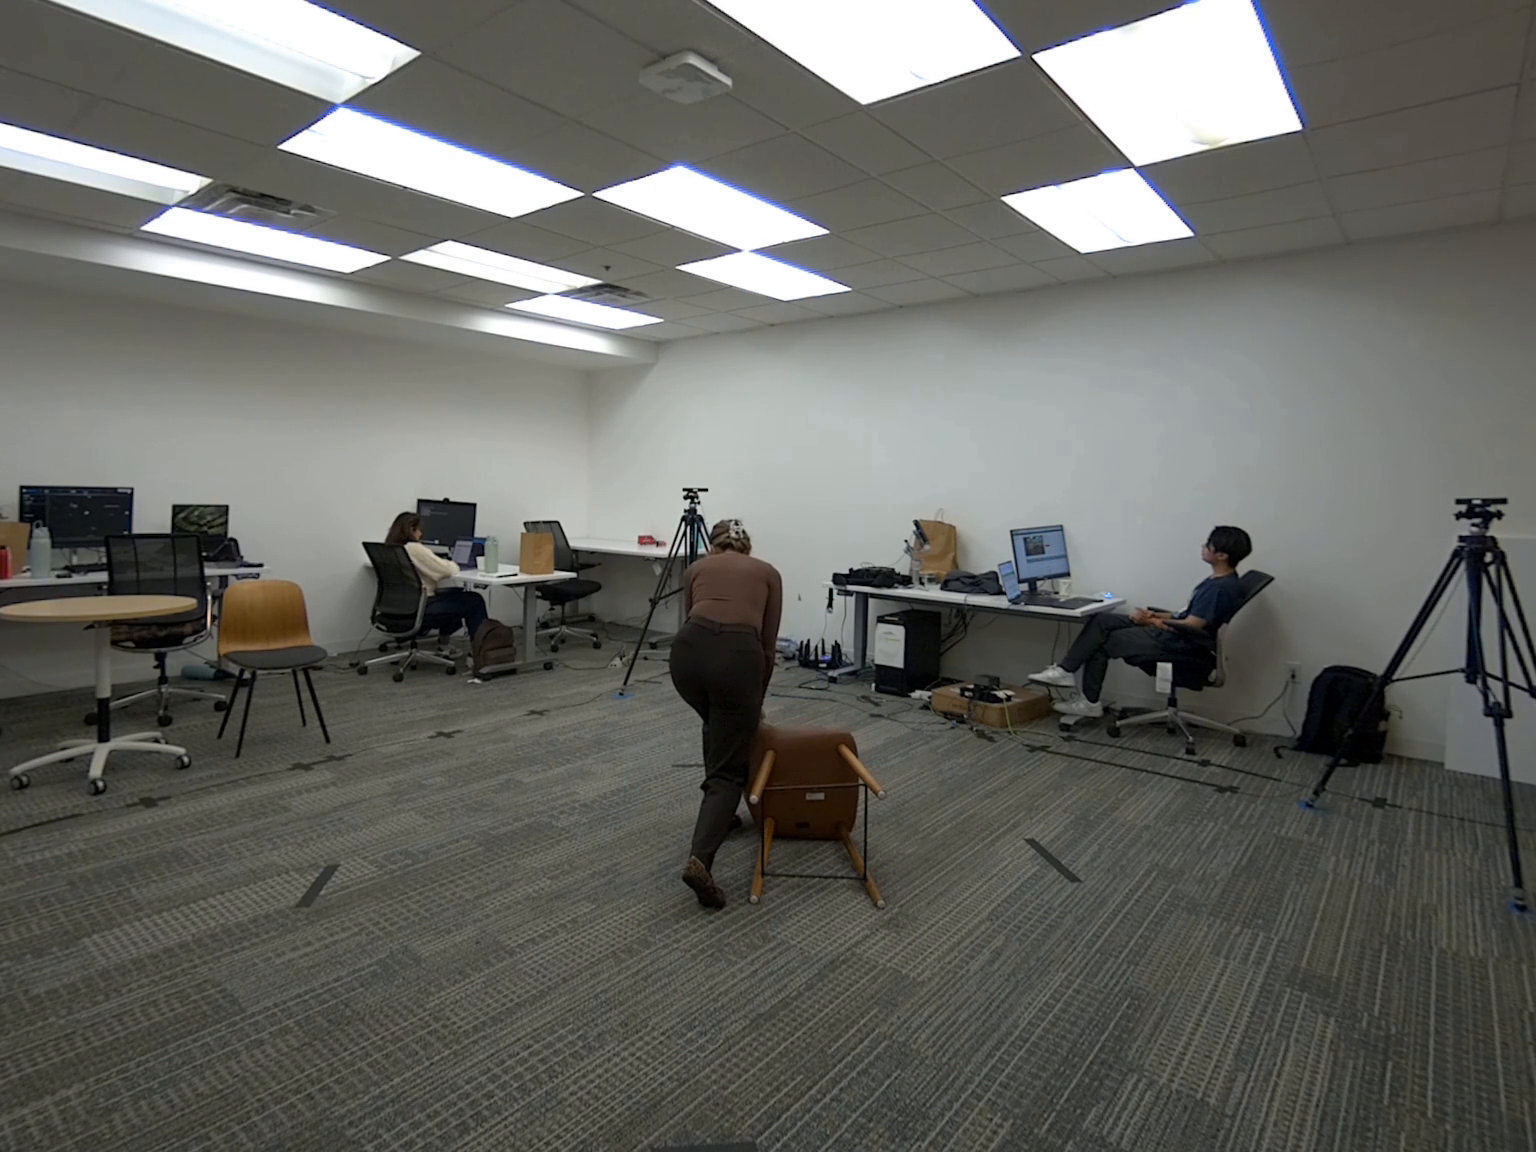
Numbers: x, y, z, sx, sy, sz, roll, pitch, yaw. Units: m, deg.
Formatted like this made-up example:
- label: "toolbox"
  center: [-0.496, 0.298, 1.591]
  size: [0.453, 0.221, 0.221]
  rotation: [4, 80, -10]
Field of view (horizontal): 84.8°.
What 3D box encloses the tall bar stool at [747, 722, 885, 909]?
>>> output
- label: "tall bar stool"
  center: [0.133, 0.848, 3.260]
  size: [0.466, 0.454, 0.898]
  rotation: [-1, 8, -4]
